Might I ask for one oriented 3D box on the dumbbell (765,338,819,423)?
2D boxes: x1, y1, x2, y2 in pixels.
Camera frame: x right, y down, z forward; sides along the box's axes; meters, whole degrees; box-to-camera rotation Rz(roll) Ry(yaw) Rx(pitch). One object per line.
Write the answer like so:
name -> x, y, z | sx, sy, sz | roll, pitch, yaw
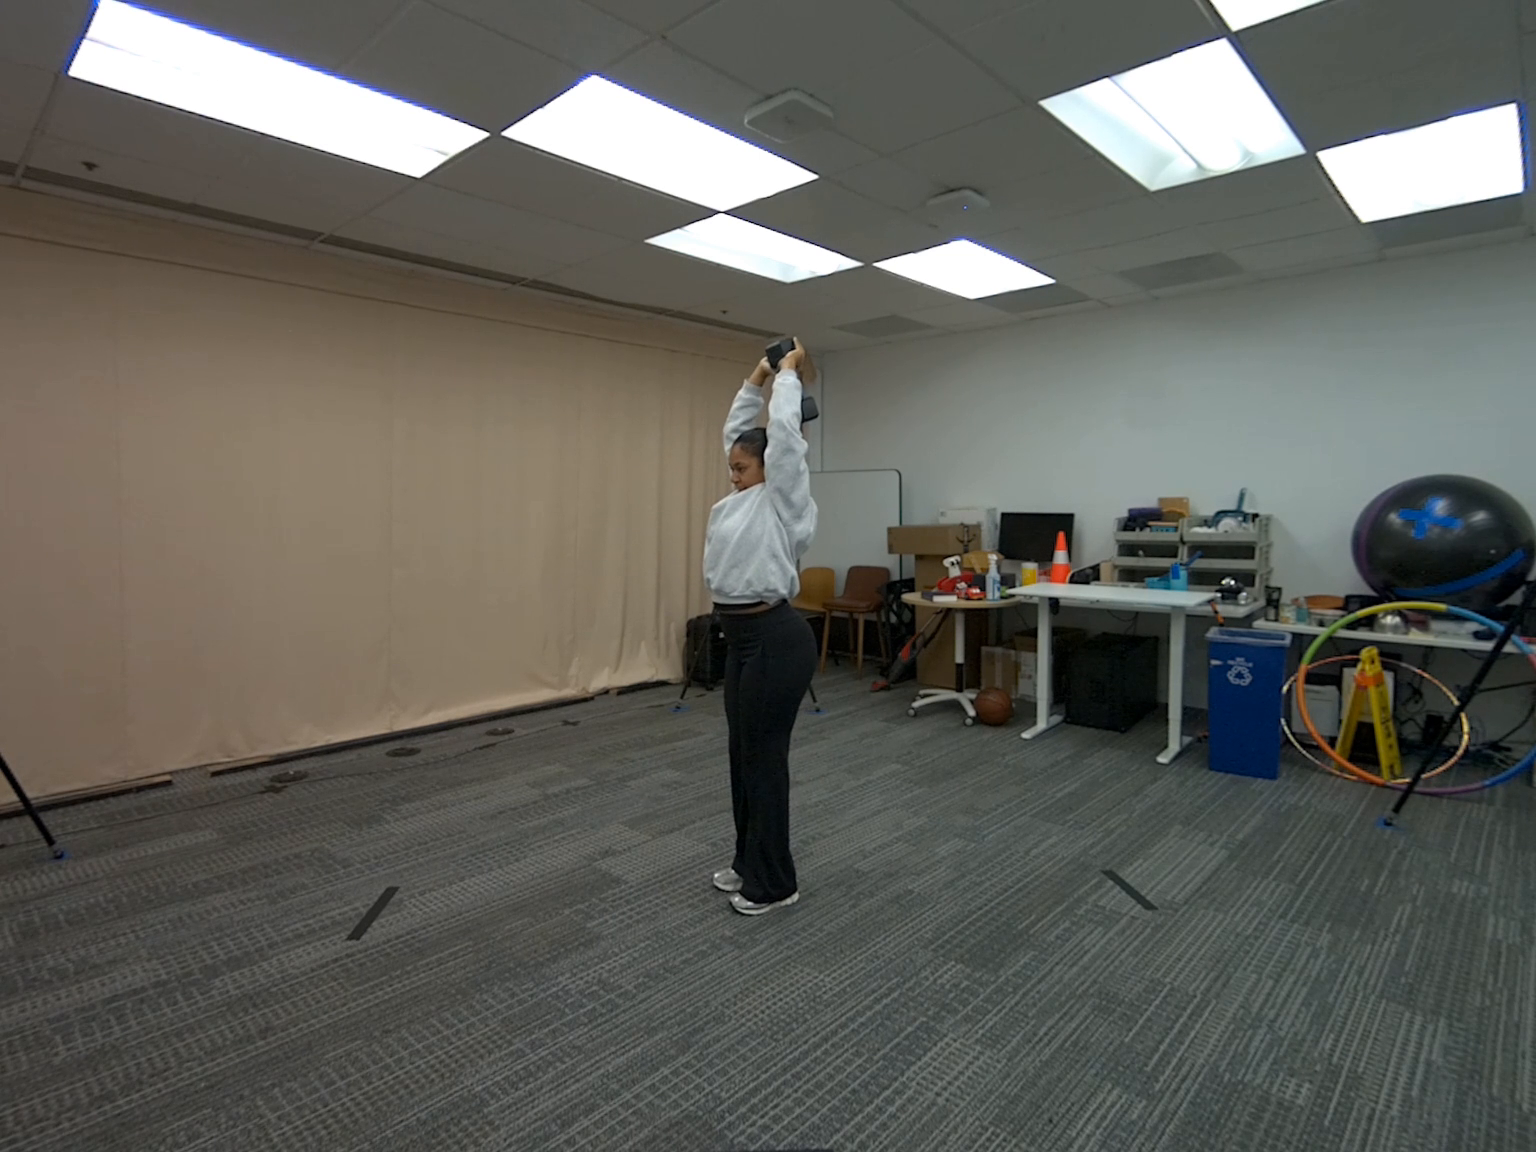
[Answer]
dumbbell -> 0.091, -0.666, 2.947 | 0.126, 0.292, 0.106 | -16, 6, 33
